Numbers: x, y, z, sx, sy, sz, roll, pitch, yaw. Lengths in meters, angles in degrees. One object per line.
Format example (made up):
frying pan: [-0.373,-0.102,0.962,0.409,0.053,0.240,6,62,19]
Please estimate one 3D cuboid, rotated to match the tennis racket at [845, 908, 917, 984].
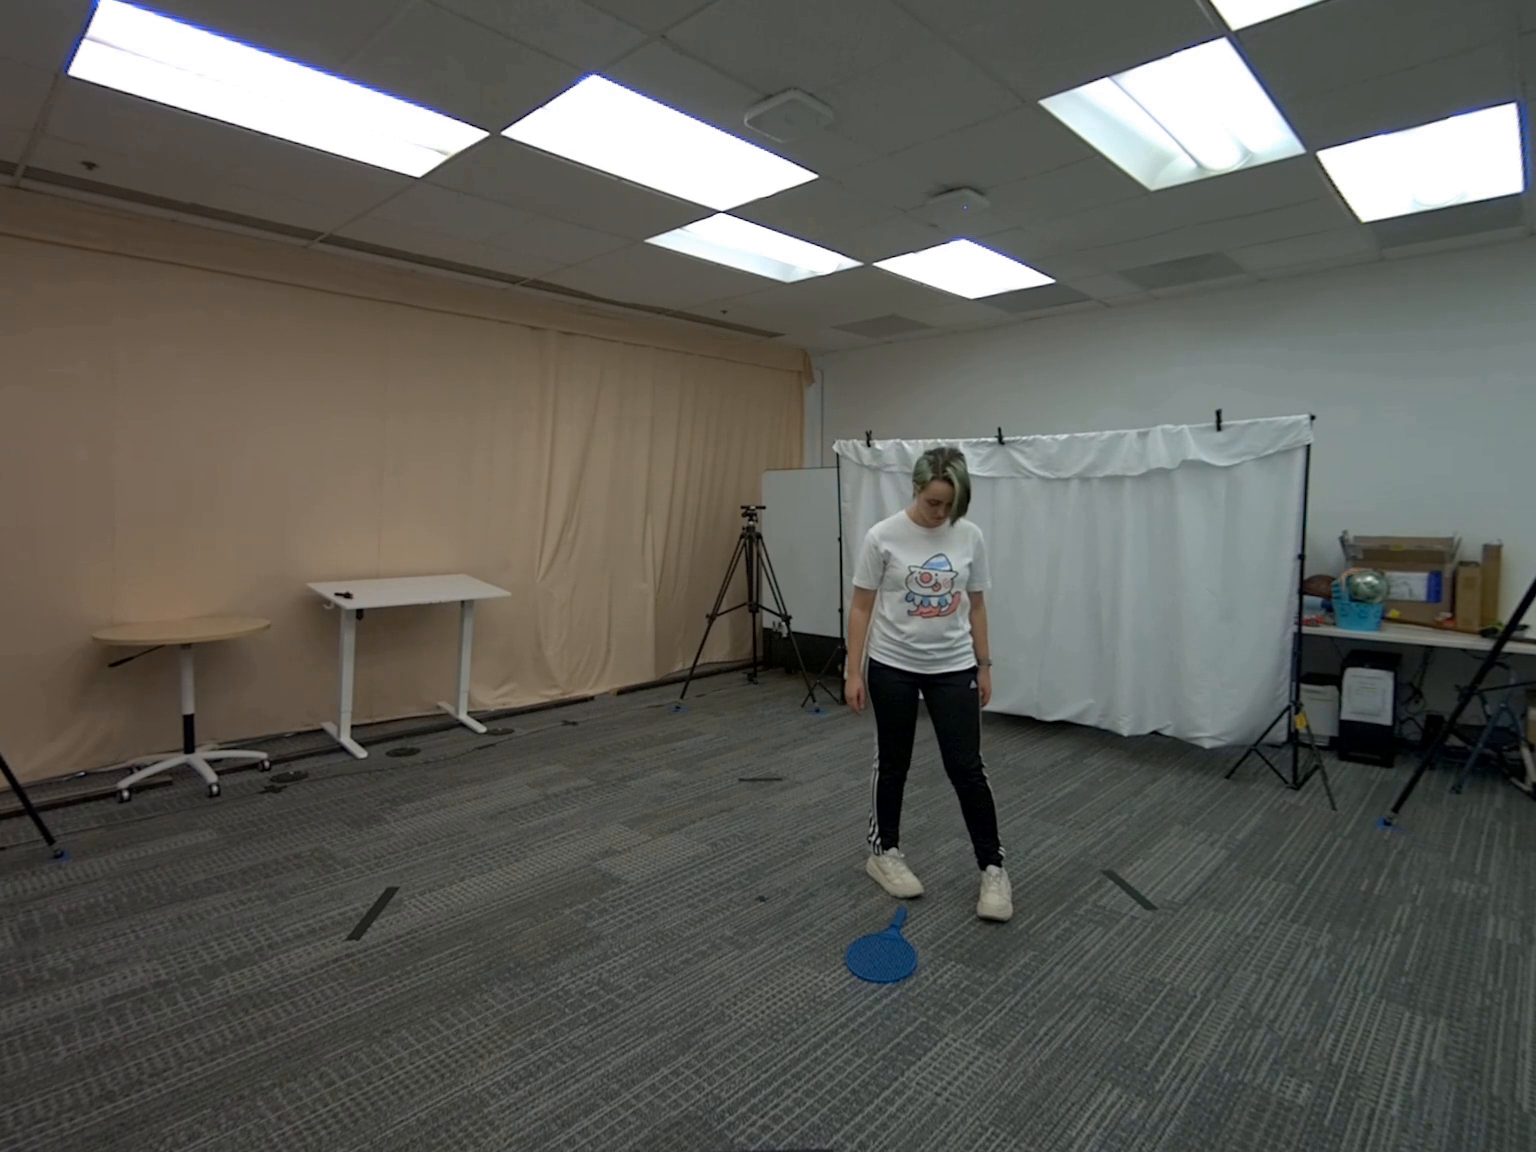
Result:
tennis racket: [0.382,1.159,2.654,0.219,0.031,0.423,3,7,25]
